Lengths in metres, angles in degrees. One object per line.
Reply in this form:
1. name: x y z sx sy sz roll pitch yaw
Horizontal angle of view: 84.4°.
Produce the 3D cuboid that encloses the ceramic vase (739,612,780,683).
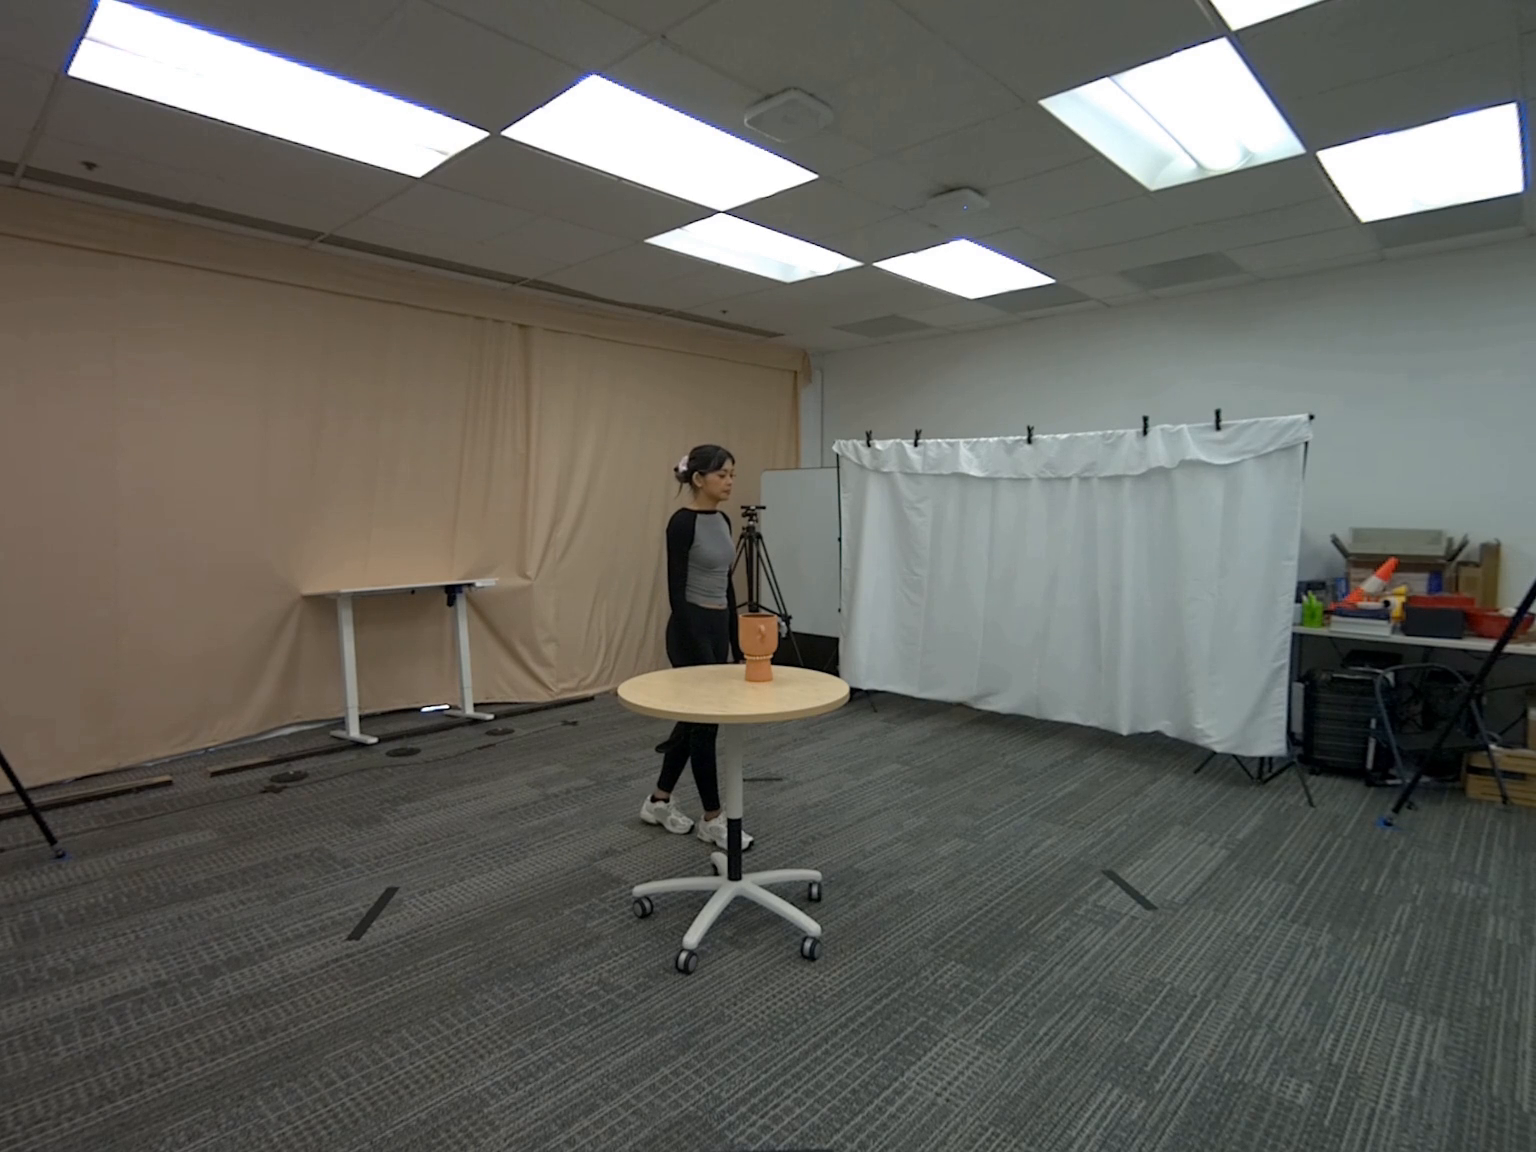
1. ceramic vase: -0.027 0.246 2.899 0.138 0.219 0.155 2 4 27
